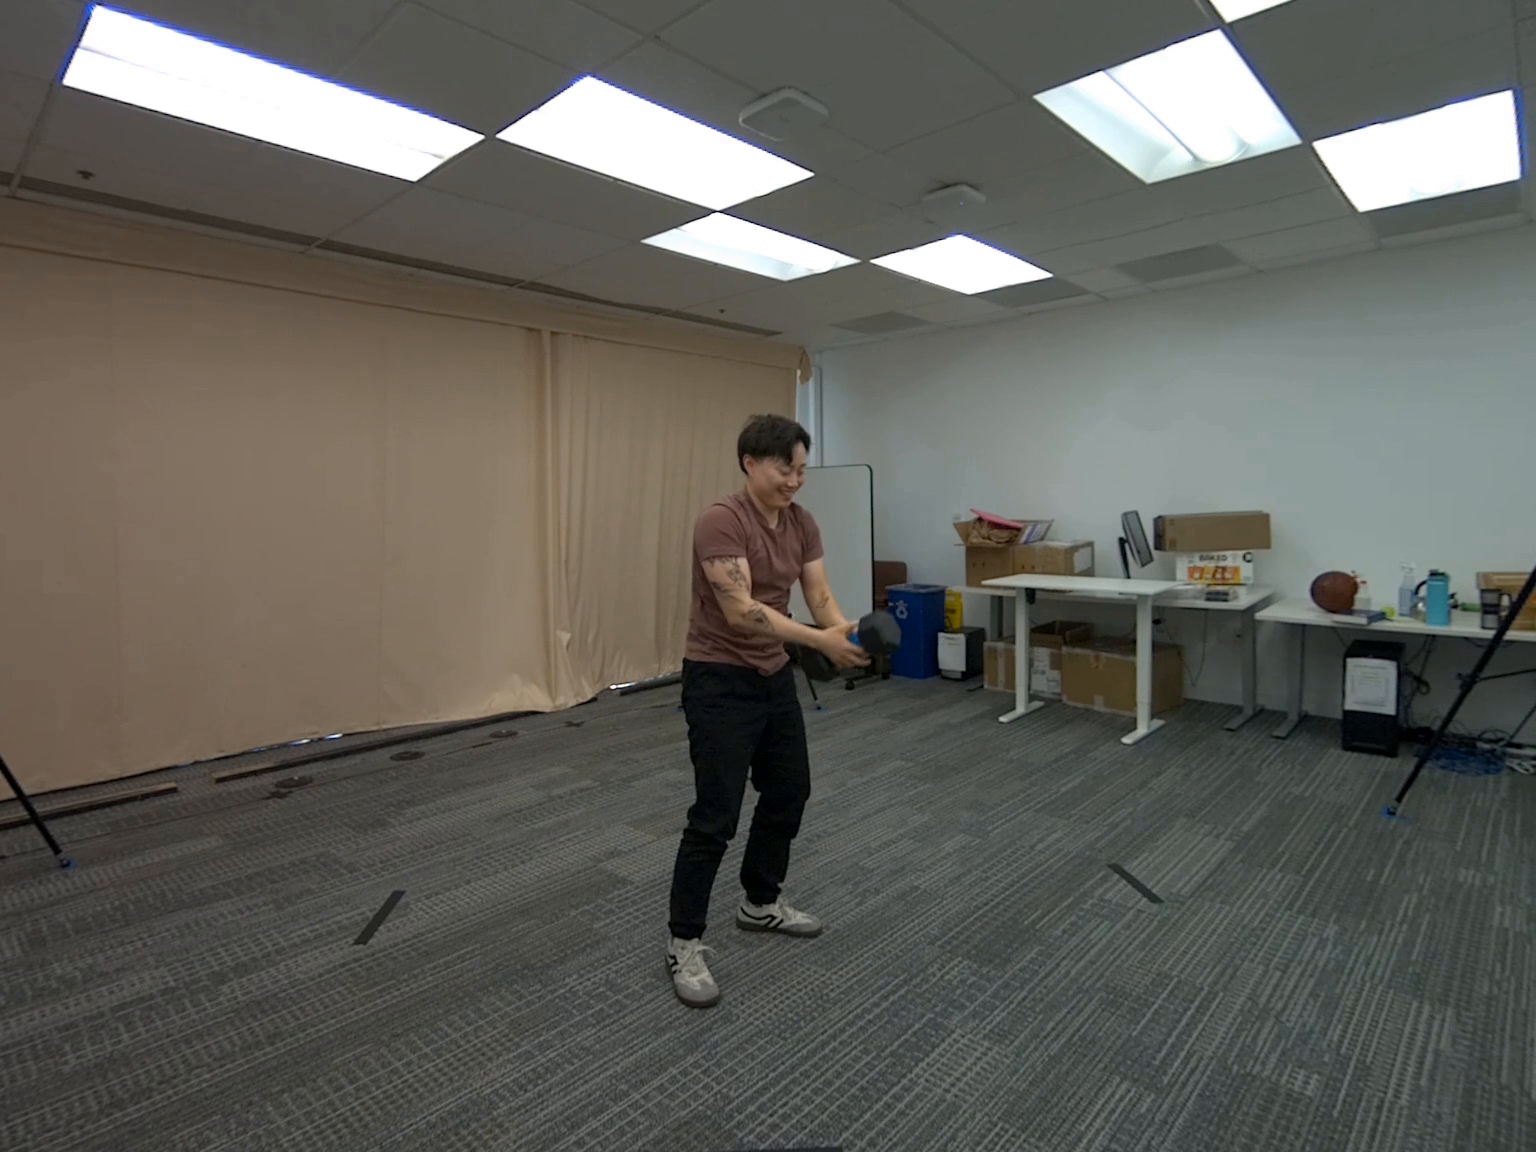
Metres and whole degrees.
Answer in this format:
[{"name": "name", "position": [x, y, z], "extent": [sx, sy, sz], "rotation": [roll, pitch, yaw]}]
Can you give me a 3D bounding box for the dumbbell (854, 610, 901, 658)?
[{"name": "dumbbell", "position": [0.234, 0.196, 2.367], "extent": [0.298, 0.124, 0.106], "rotation": [-31, -8, 38]}]
